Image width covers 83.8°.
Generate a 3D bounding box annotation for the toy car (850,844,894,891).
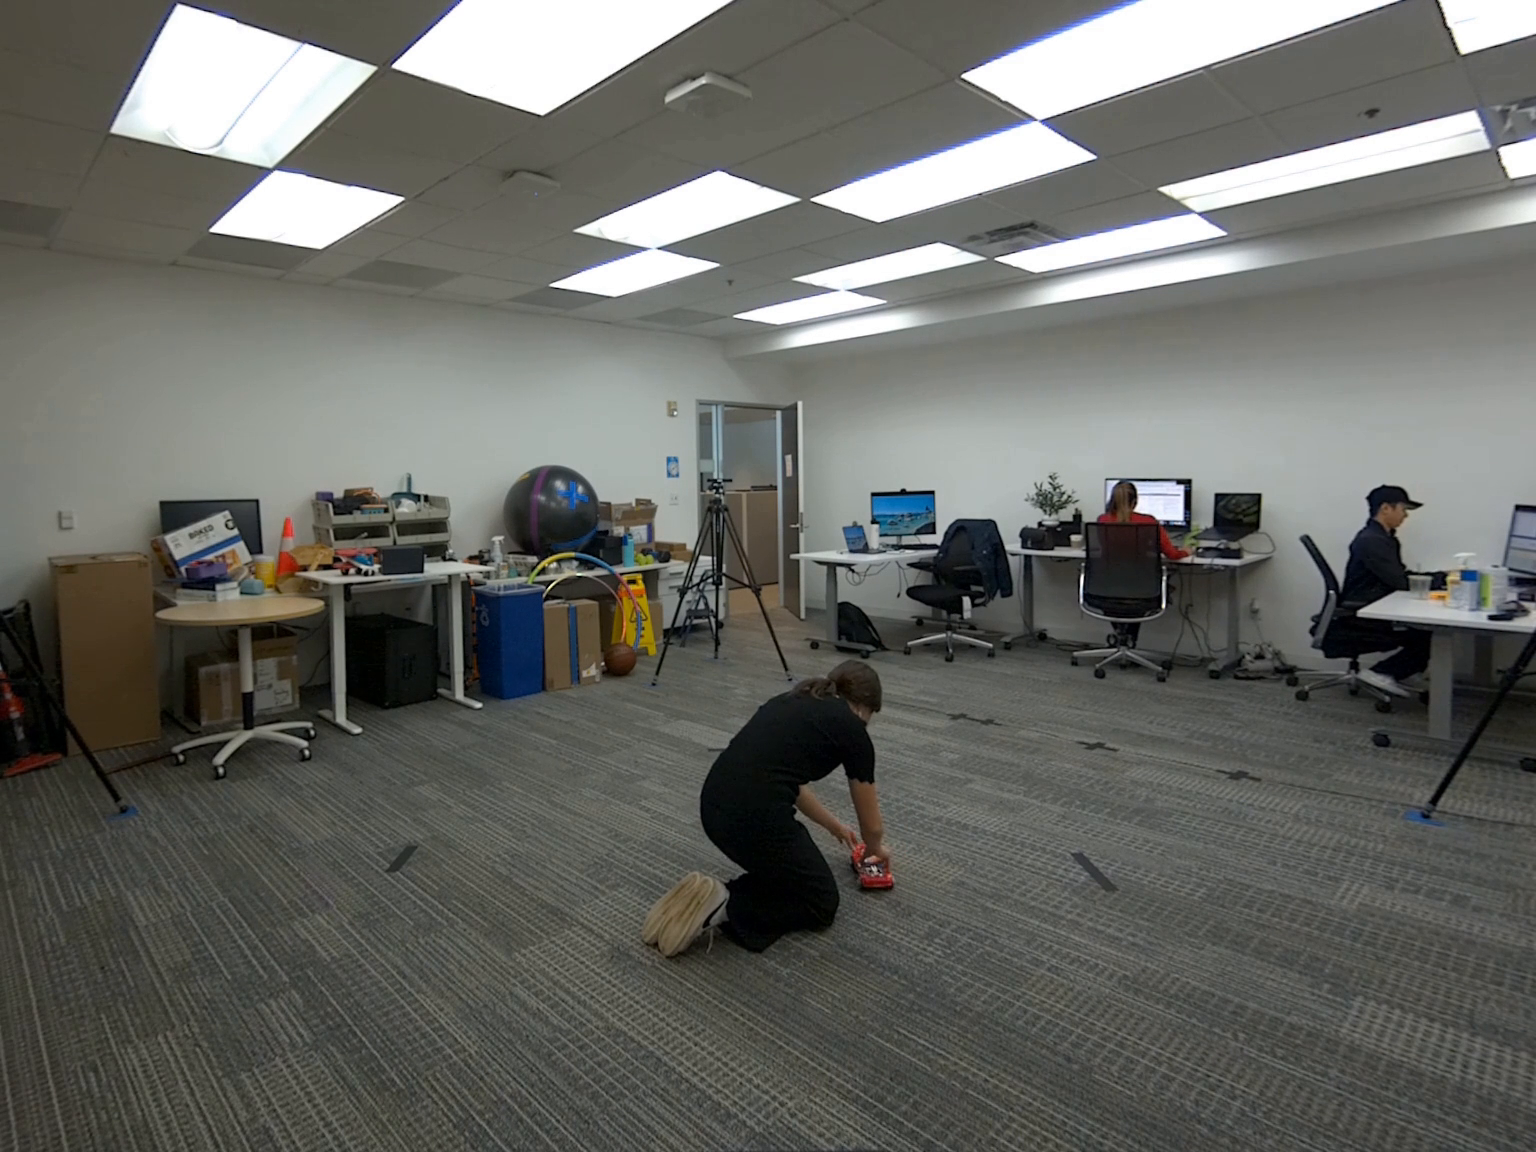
[{"bbox_3d":[0.360,1.025,2.991,0.130,0.082,0.258,1,17,-3],"label":"toy car"}]
